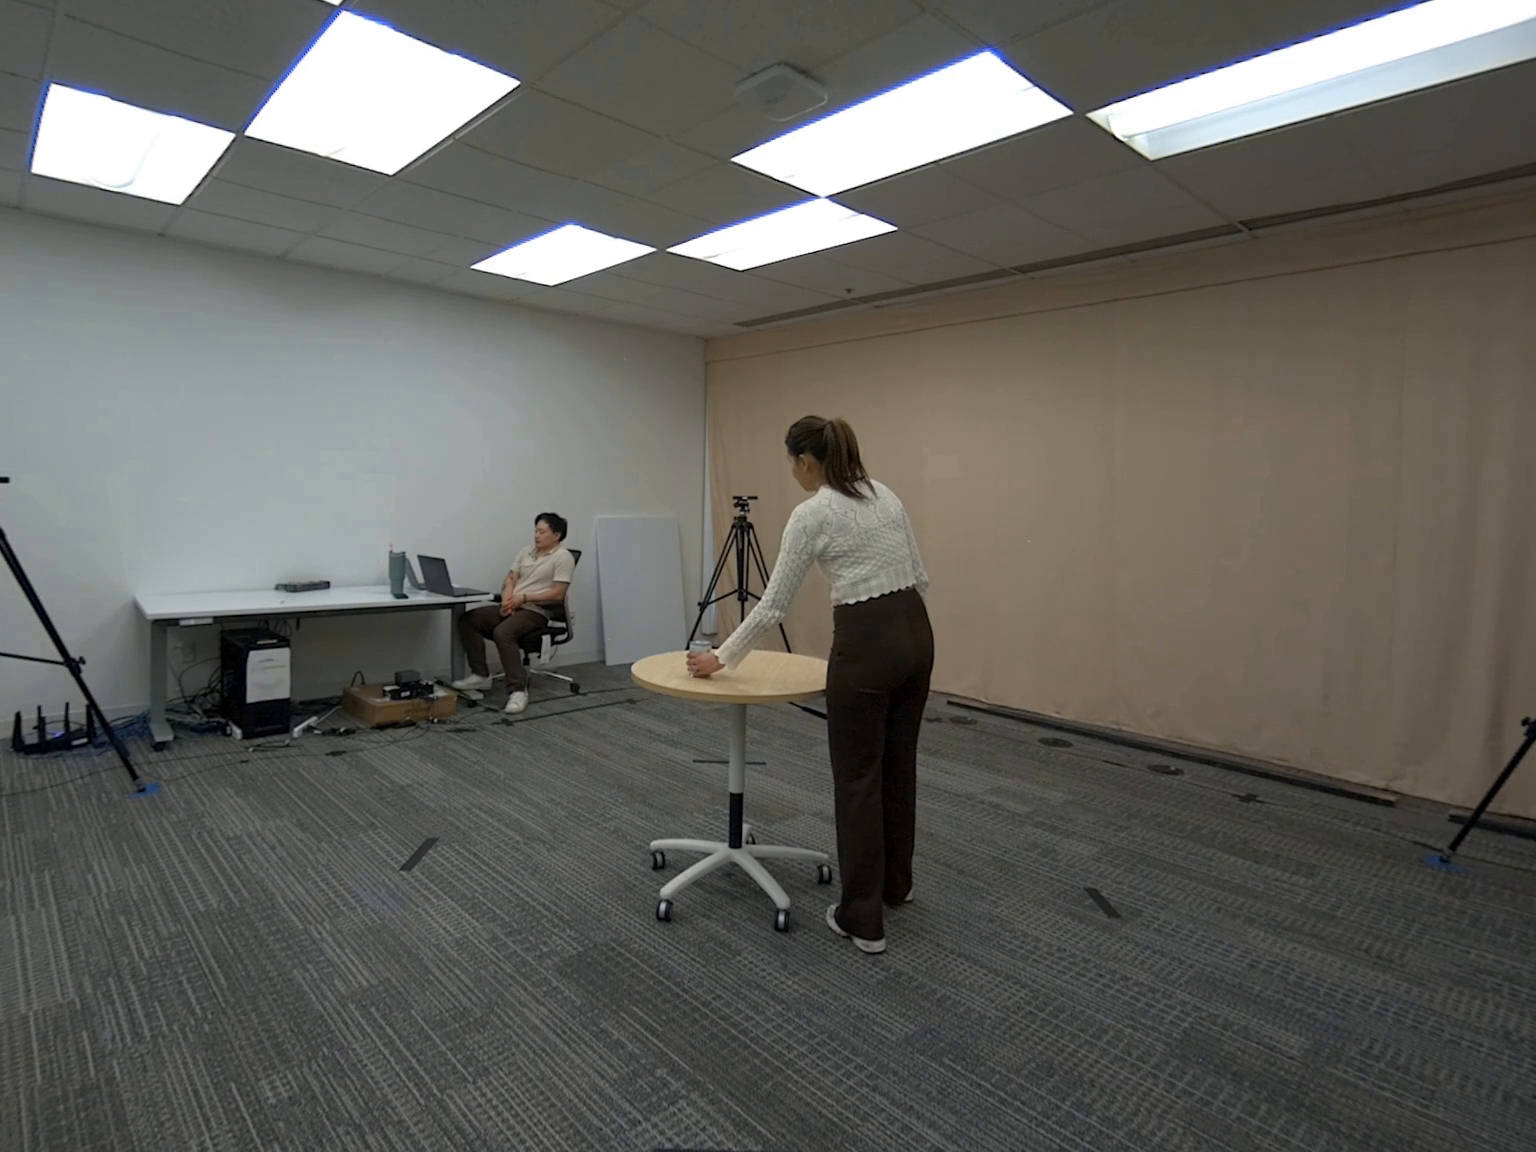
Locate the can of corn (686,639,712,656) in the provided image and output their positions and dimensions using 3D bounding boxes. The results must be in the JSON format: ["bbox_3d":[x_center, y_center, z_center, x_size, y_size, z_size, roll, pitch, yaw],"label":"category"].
[{"bbox_3d":[-0.226,0.285,2.862,0.074,0.111,0.074,3,5,-2],"label":"can of corn"}]
